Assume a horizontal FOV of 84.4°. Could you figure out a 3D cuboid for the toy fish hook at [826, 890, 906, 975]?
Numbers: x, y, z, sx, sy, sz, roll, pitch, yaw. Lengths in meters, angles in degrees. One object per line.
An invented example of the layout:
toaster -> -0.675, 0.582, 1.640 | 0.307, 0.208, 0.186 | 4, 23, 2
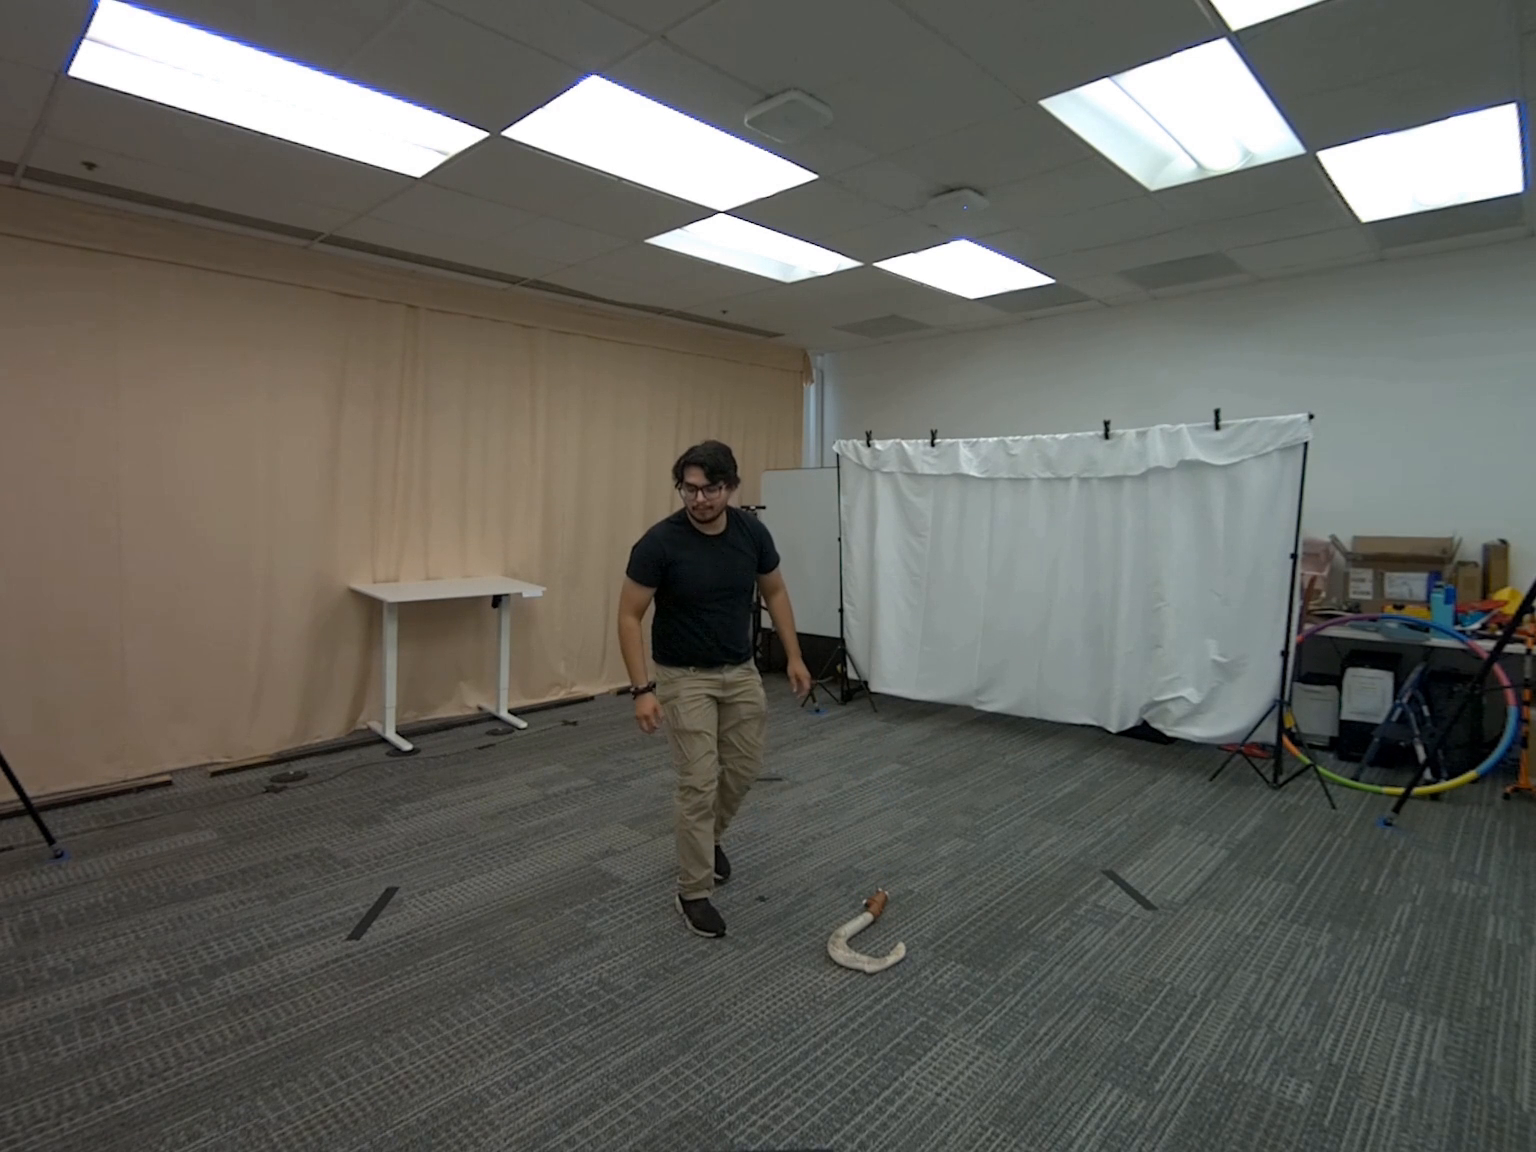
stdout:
toy fish hook -> 0.358, 1.145, 2.734 | 0.231, 0.048, 0.495 | 8, 9, 24
